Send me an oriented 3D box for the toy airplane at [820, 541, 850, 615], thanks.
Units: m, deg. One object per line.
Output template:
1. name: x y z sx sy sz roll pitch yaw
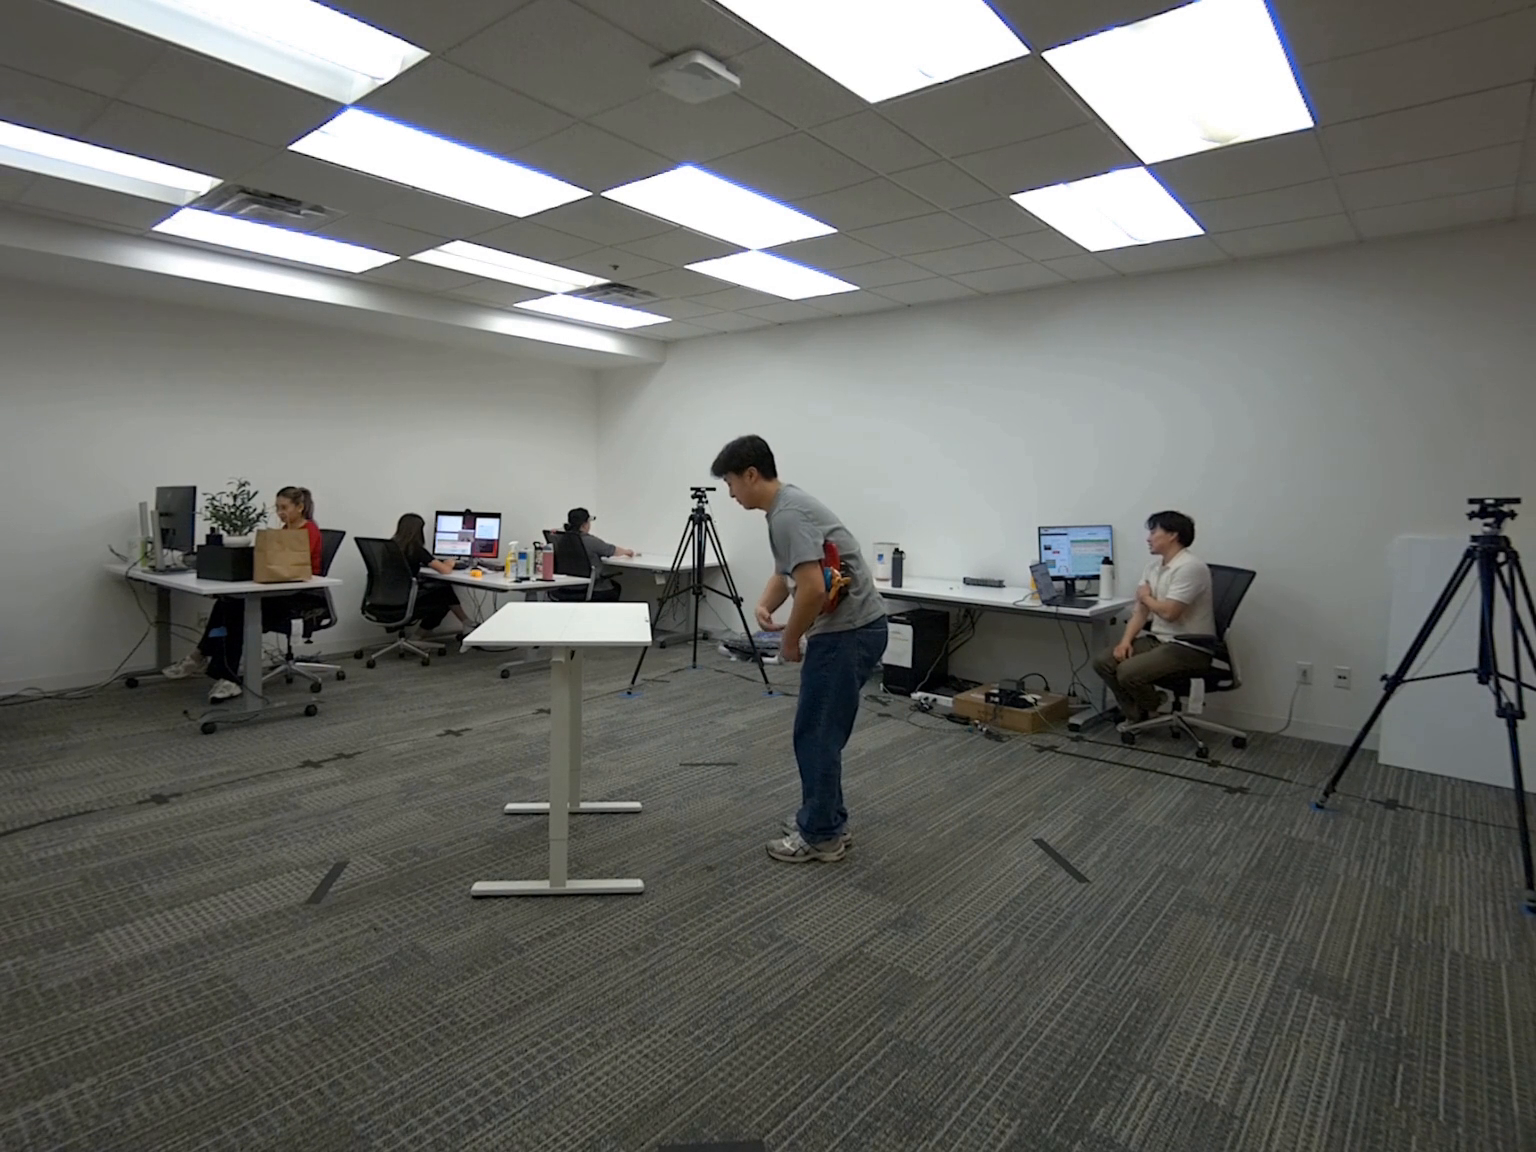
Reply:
1. toy airplane: 0.166 0.017 3.112 0.263 0.254 0.152 -26 -11 33
